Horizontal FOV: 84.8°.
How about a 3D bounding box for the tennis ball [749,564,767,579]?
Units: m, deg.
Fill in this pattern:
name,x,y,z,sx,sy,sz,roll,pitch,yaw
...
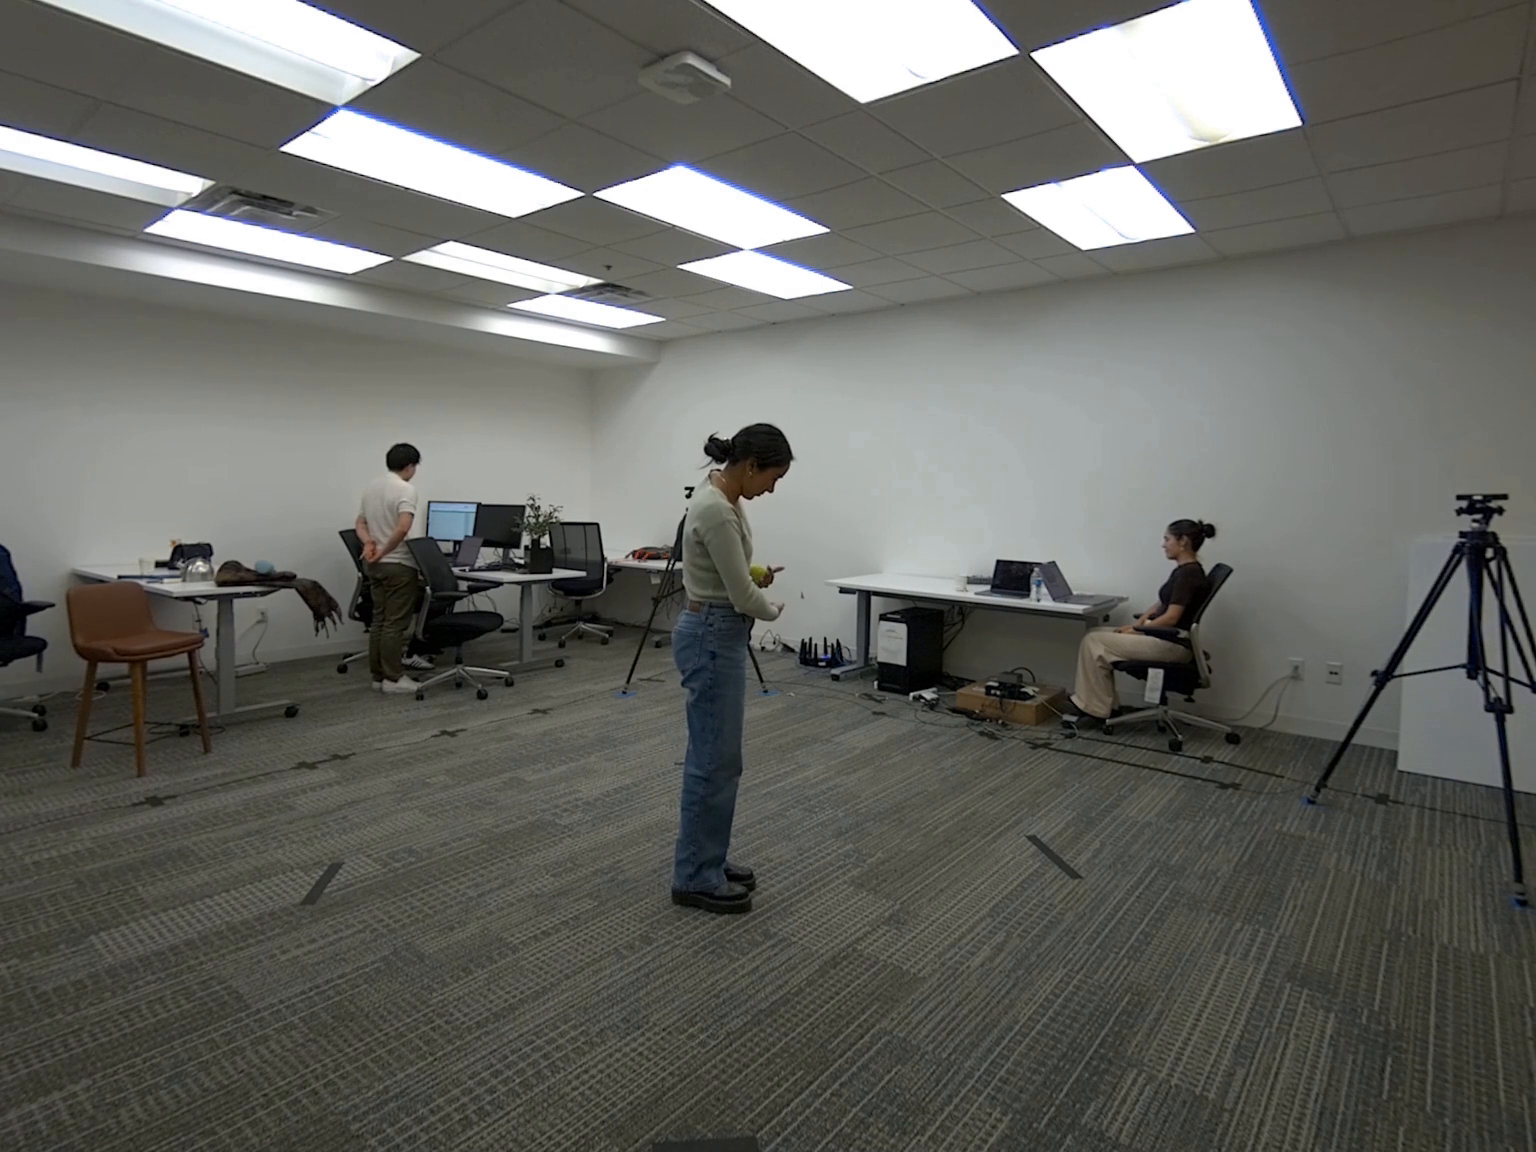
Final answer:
name,x,y,z,sx,sy,sz,roll,pitch,yaw
tennis ball,-0.048,-0.013,2.869,0.066,0.066,0.067,1,4,-2
